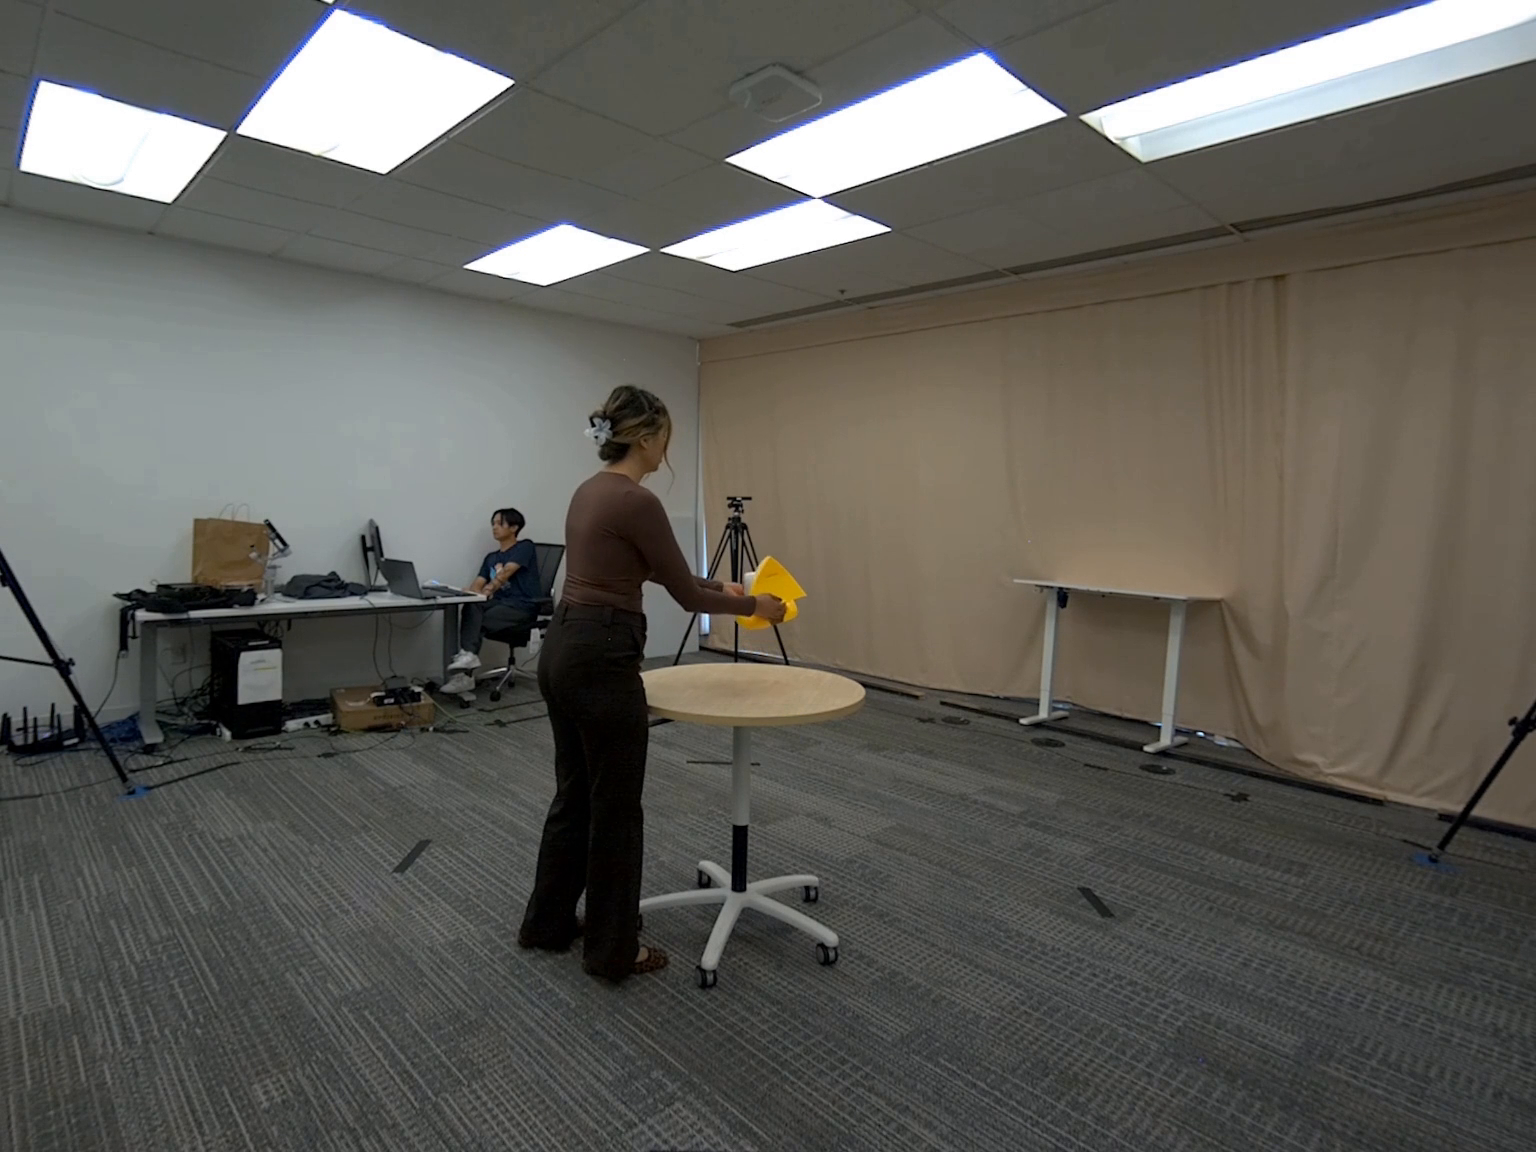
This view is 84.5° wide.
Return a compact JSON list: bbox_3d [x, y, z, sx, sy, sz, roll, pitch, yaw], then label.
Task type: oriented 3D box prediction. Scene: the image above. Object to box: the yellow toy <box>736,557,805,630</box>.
[{"bbox_3d":[-0.021,0.031,2.708,0.202,0.227,0.198,-15,22,-24],"label":"yellow toy"}]
